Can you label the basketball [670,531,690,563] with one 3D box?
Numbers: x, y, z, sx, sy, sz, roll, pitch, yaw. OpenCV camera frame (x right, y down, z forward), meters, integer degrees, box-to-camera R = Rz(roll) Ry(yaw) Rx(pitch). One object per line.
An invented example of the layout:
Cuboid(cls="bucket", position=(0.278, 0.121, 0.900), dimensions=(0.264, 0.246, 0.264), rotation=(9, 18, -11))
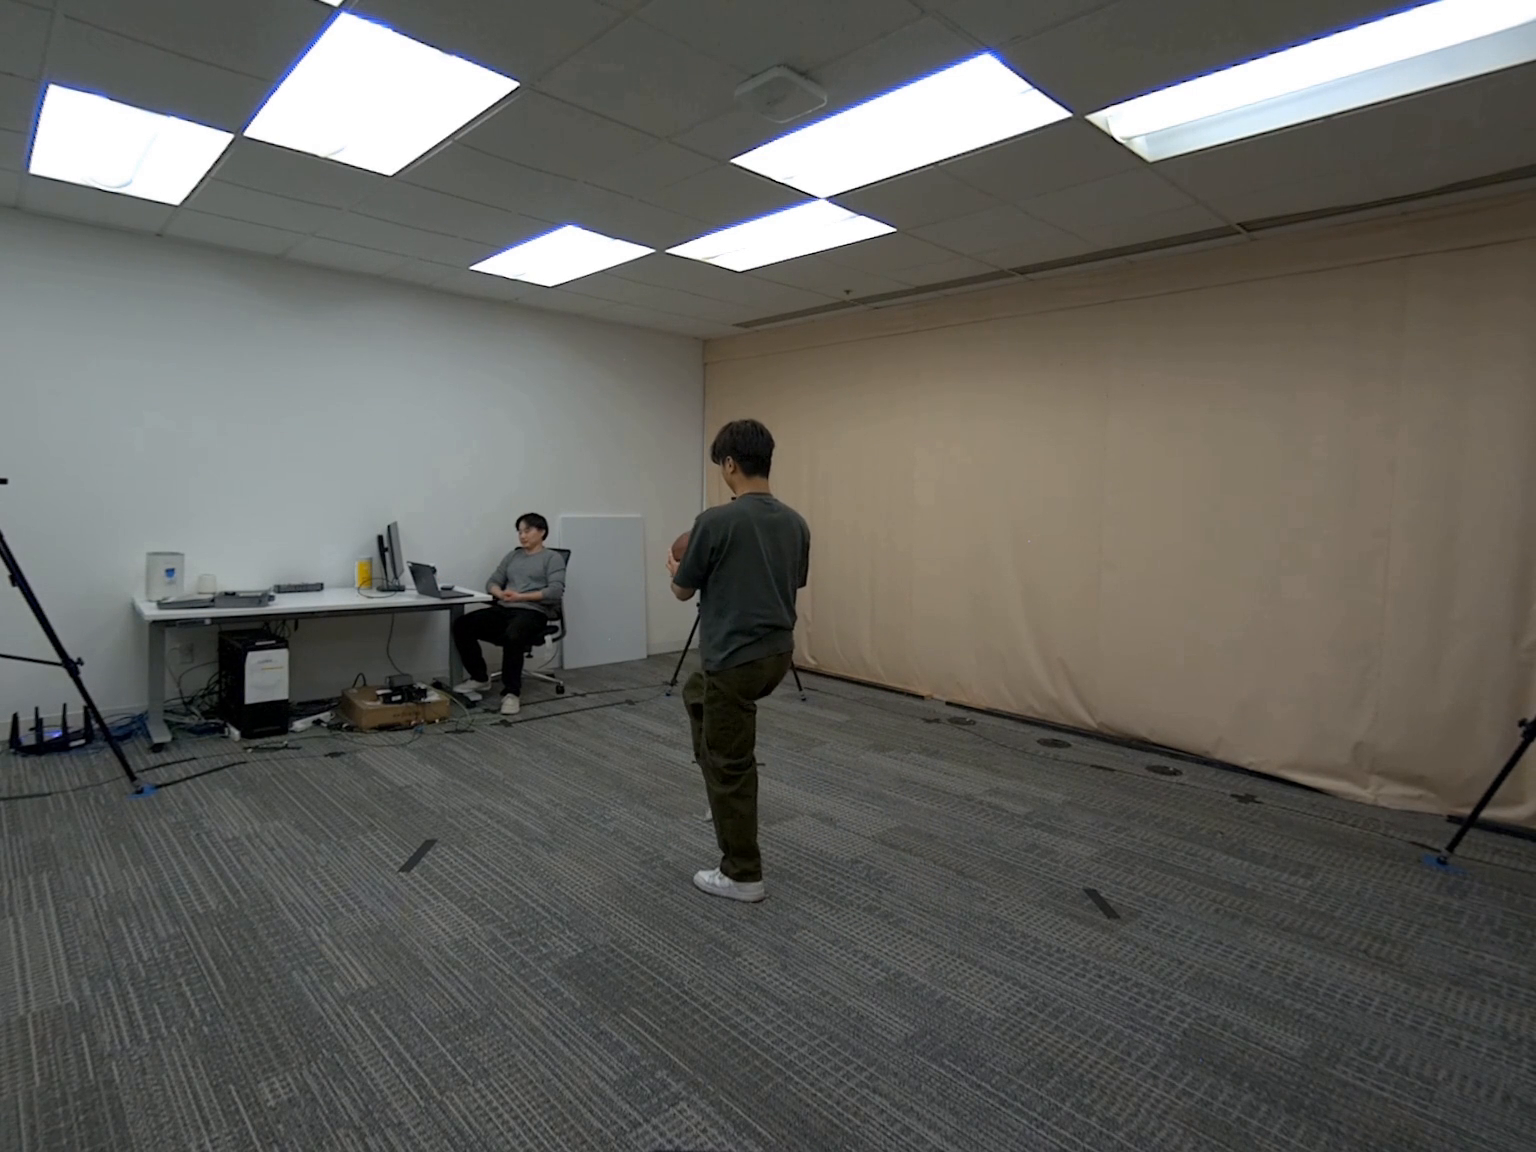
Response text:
Cuboid(cls="basketball", position=(-0.267, -0.072, 3.306), dimensions=(0.236, 0.235, 0.237), rotation=(1, 4, -1))
